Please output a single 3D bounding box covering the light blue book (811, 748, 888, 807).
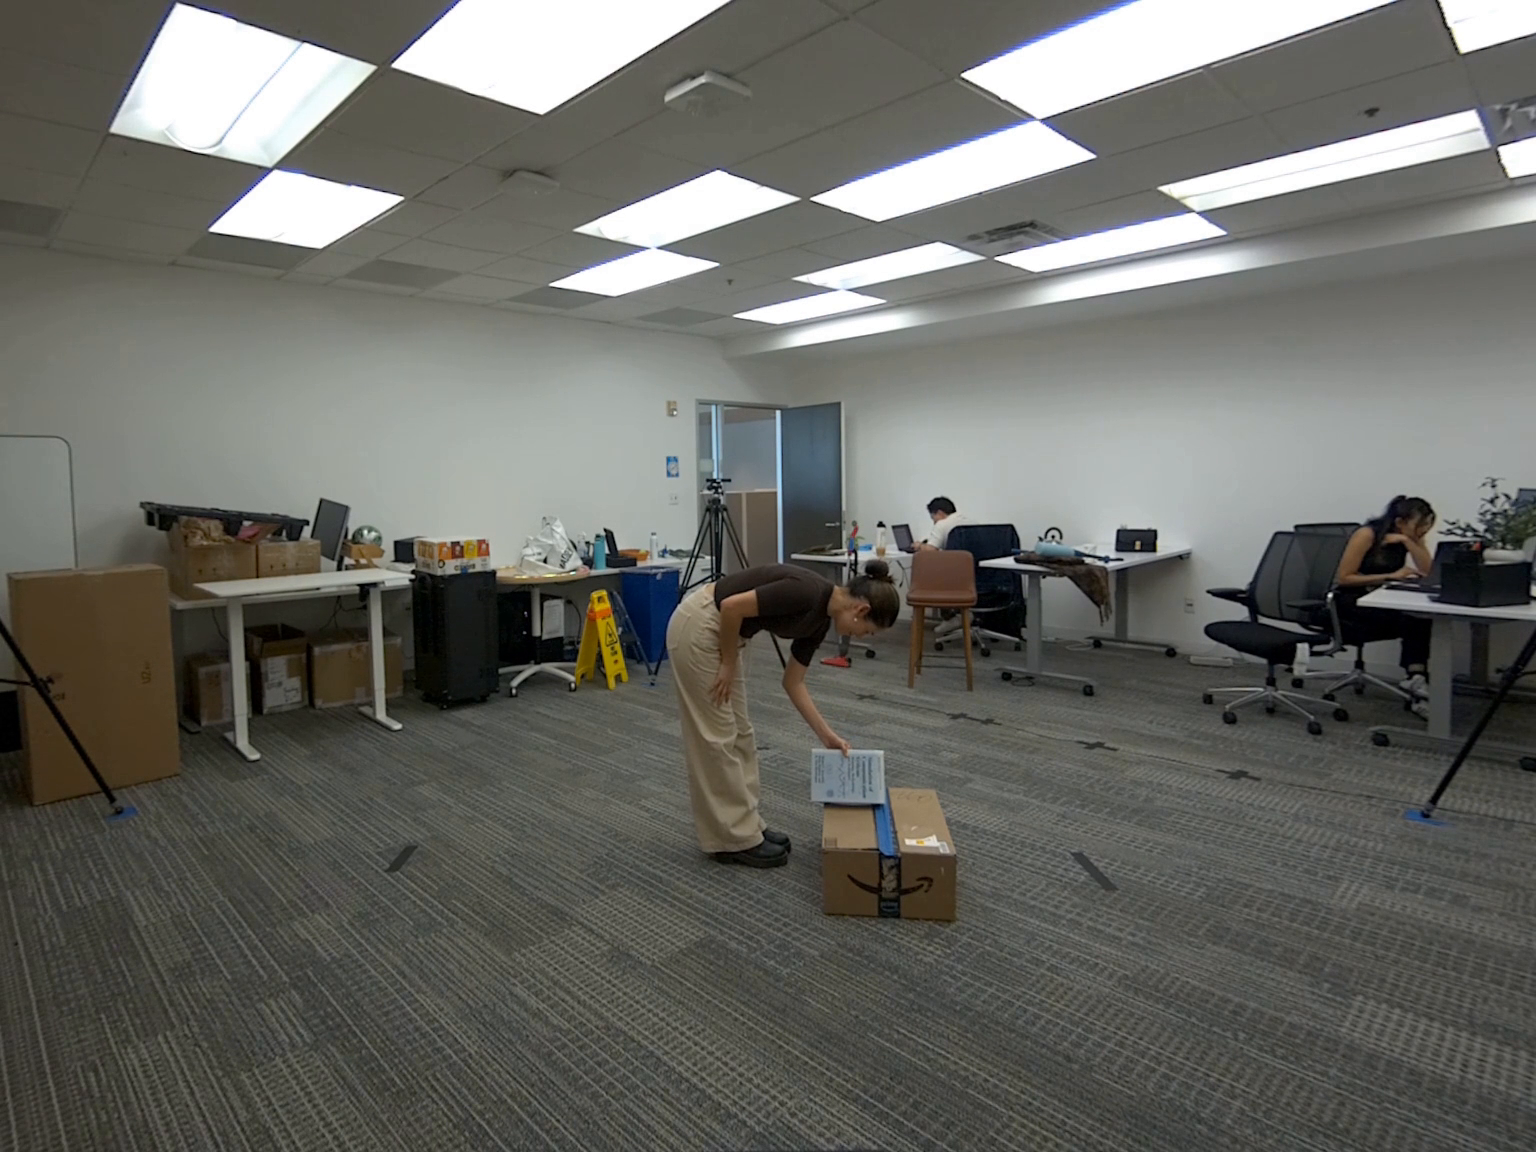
[{"bbox_3d":[0.283,0.726,3.106,0.263,0.195,0.057,0,-22,8],"label":"light blue book"}]
